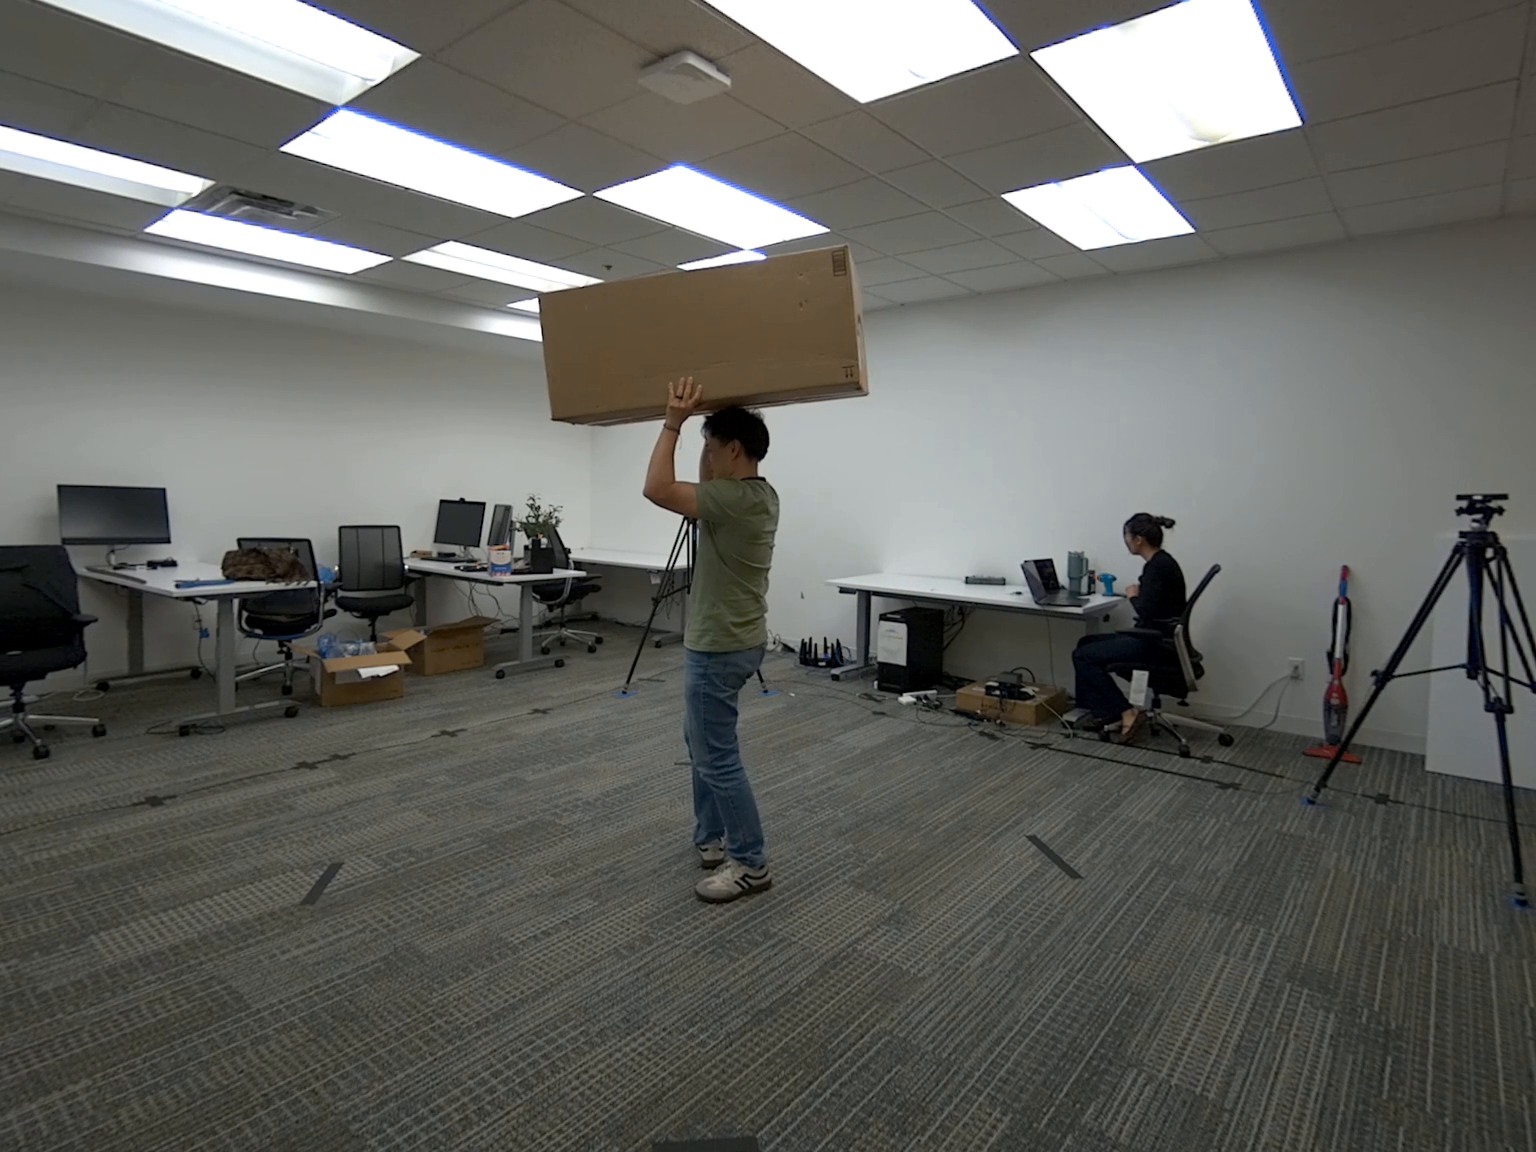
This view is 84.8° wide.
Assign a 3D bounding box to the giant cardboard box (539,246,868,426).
[{"bbox_3d":[-0.204,-0.802,2.976,1.039,0.424,0.573,-4,6,13],"label":"giant cardboard box"}]
